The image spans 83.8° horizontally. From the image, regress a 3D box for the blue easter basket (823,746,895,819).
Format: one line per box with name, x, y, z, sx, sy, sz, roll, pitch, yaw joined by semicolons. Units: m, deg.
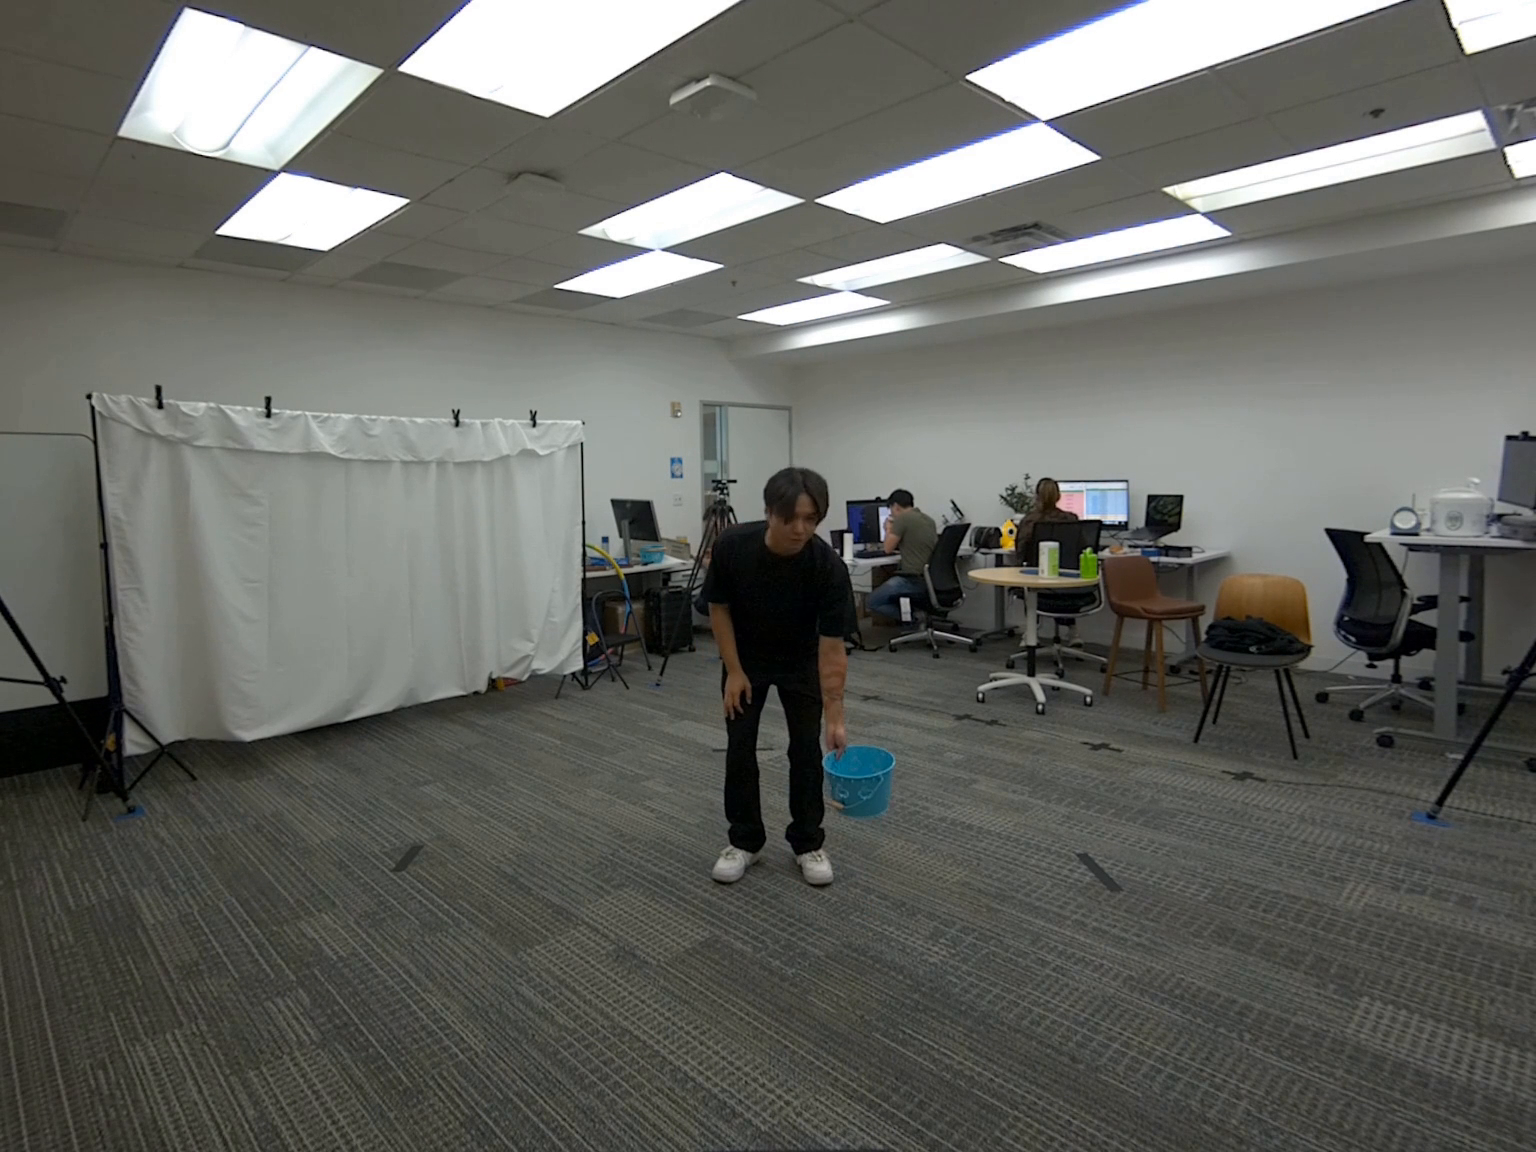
blue easter basket;0.294;0.674;2.762;0.243;0.154;0.246;-4;11;-1
